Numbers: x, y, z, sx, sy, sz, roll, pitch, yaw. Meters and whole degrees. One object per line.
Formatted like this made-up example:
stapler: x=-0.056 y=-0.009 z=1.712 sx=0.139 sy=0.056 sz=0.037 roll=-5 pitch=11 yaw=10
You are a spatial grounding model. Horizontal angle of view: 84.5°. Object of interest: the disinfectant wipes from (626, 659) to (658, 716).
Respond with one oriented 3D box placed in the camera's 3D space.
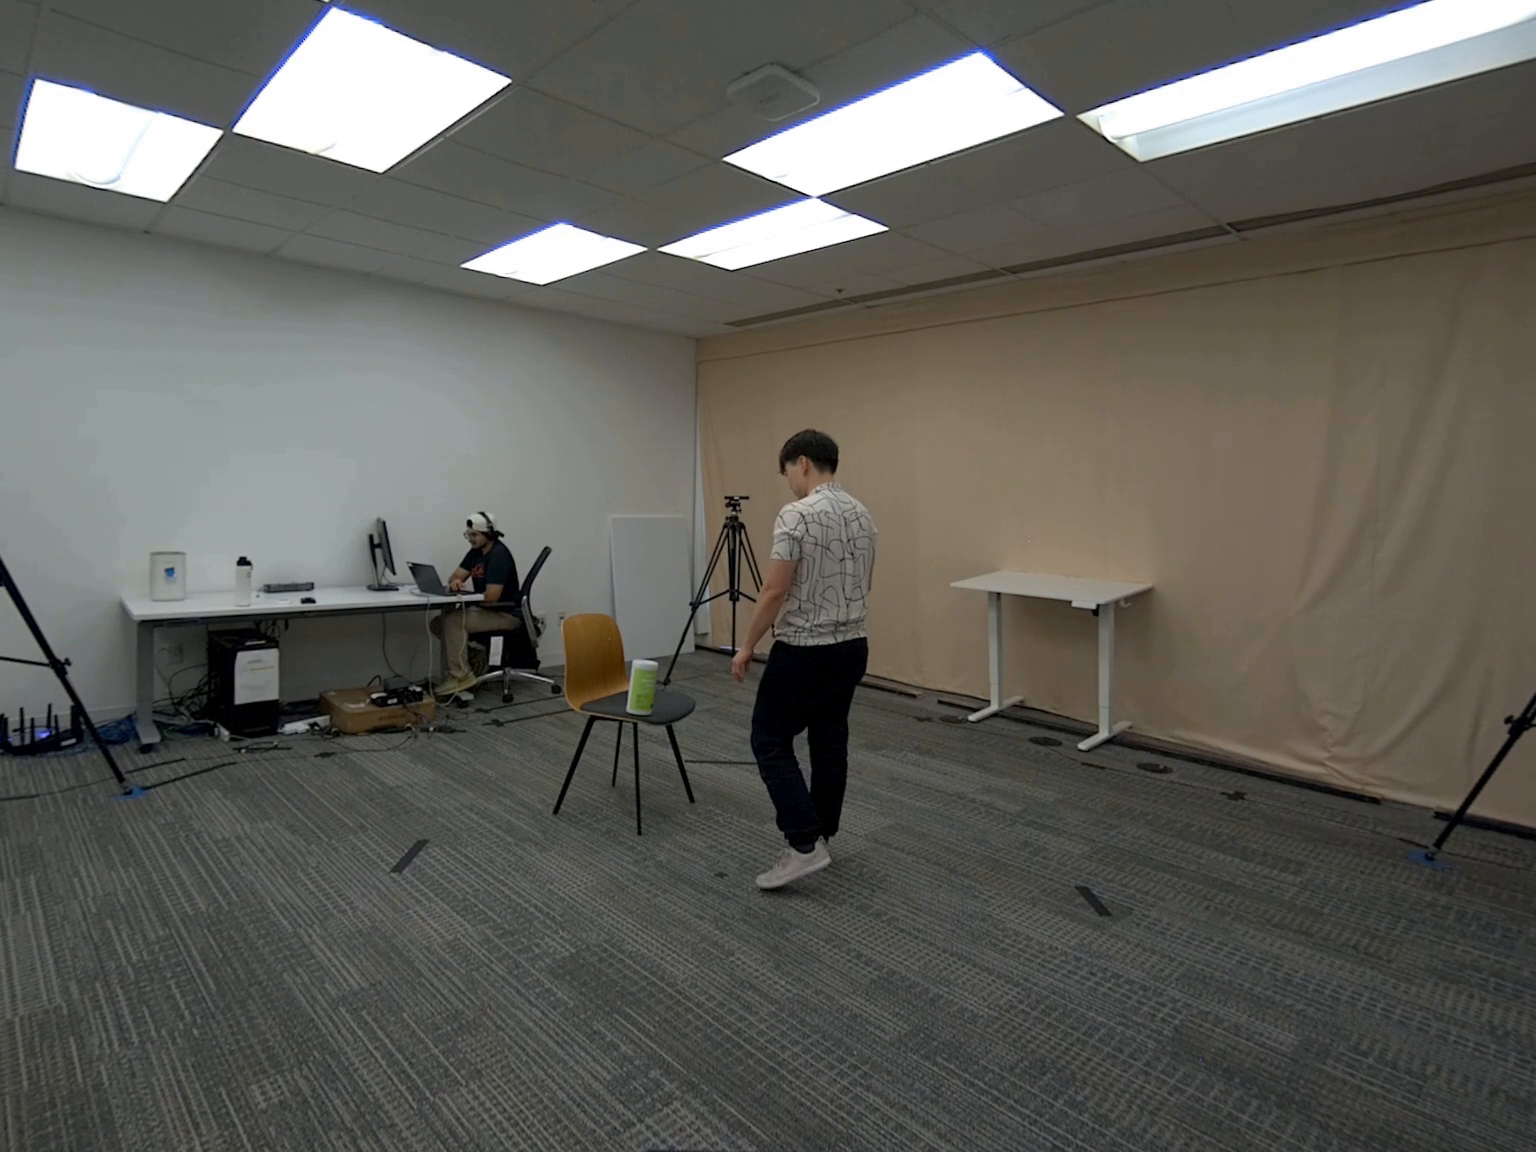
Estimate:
disinfectant wipes: x=-0.527 y=0.460 z=3.500 sx=0.118 sy=0.217 sz=0.118 roll=7 pitch=-1 yaw=-1
